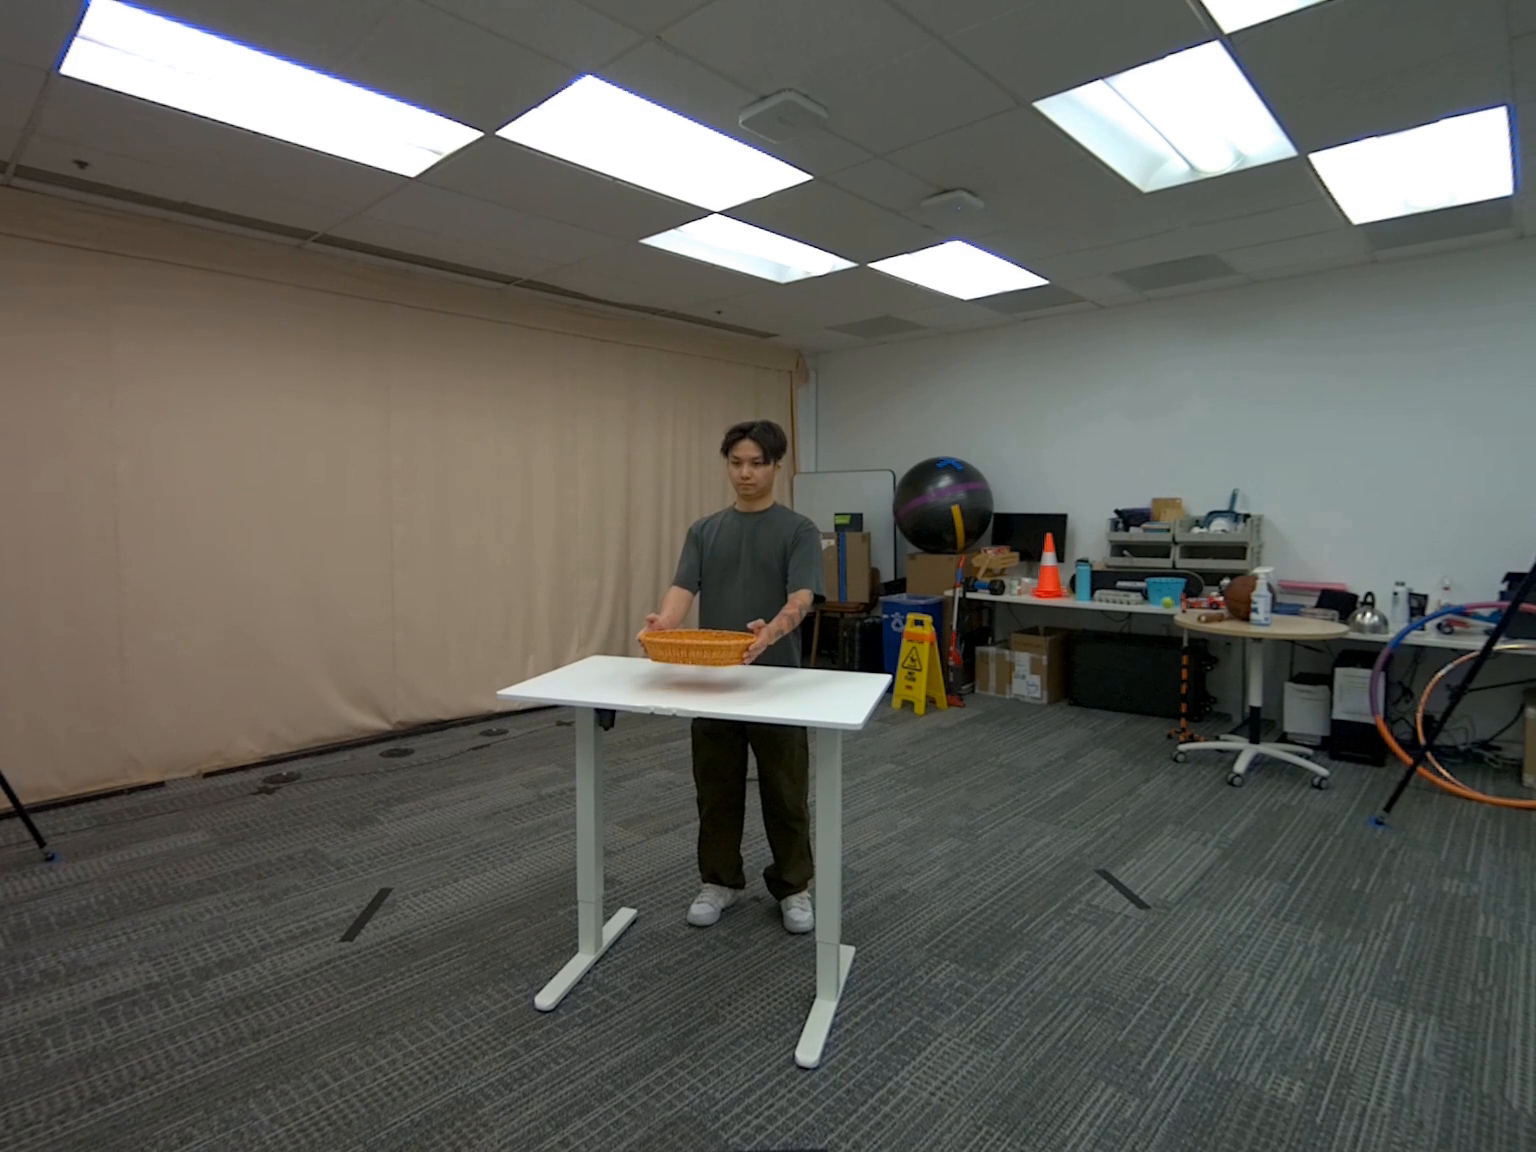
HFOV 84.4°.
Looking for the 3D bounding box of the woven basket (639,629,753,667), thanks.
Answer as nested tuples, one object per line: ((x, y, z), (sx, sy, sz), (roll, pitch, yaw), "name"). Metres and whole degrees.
((-0.196, 0.201, 2.394), (0.361, 0.073, 0.245), (3, 6, 34), "woven basket")
